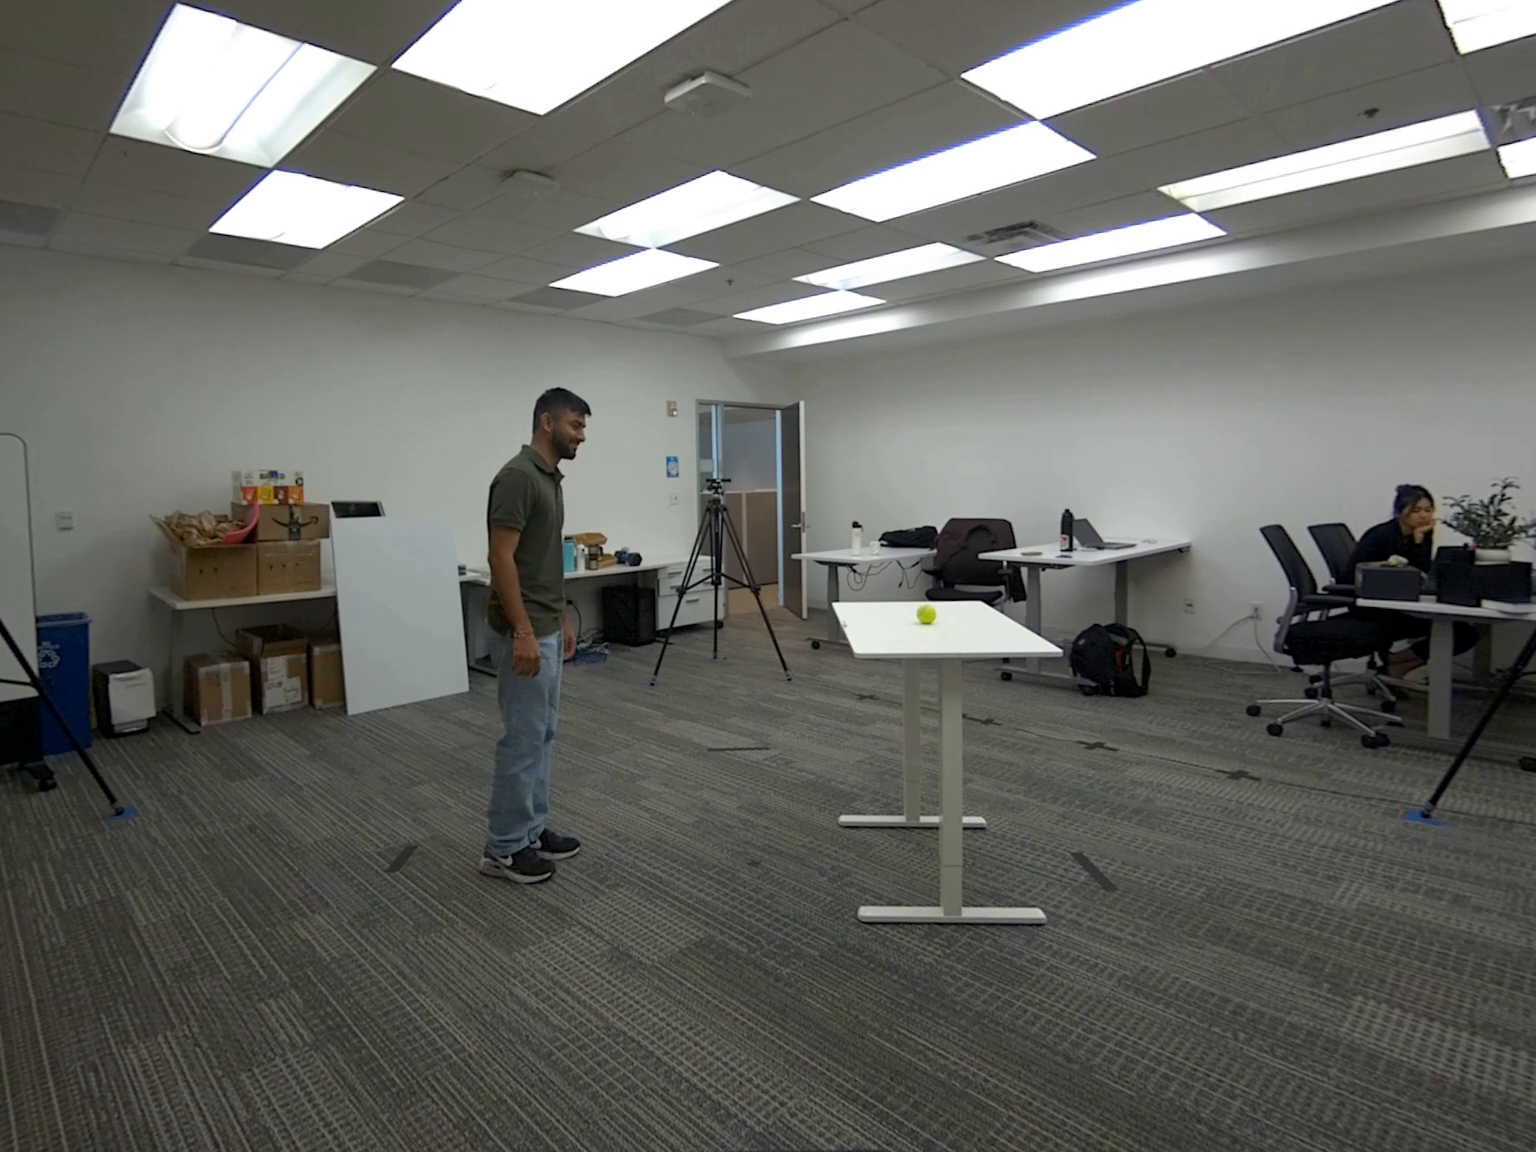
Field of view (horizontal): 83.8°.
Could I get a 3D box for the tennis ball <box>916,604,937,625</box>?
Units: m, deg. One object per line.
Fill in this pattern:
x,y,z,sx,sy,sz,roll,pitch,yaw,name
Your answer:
0.541,0.133,2.982,0.066,0.066,0.067,-1,5,-2,tennis ball
